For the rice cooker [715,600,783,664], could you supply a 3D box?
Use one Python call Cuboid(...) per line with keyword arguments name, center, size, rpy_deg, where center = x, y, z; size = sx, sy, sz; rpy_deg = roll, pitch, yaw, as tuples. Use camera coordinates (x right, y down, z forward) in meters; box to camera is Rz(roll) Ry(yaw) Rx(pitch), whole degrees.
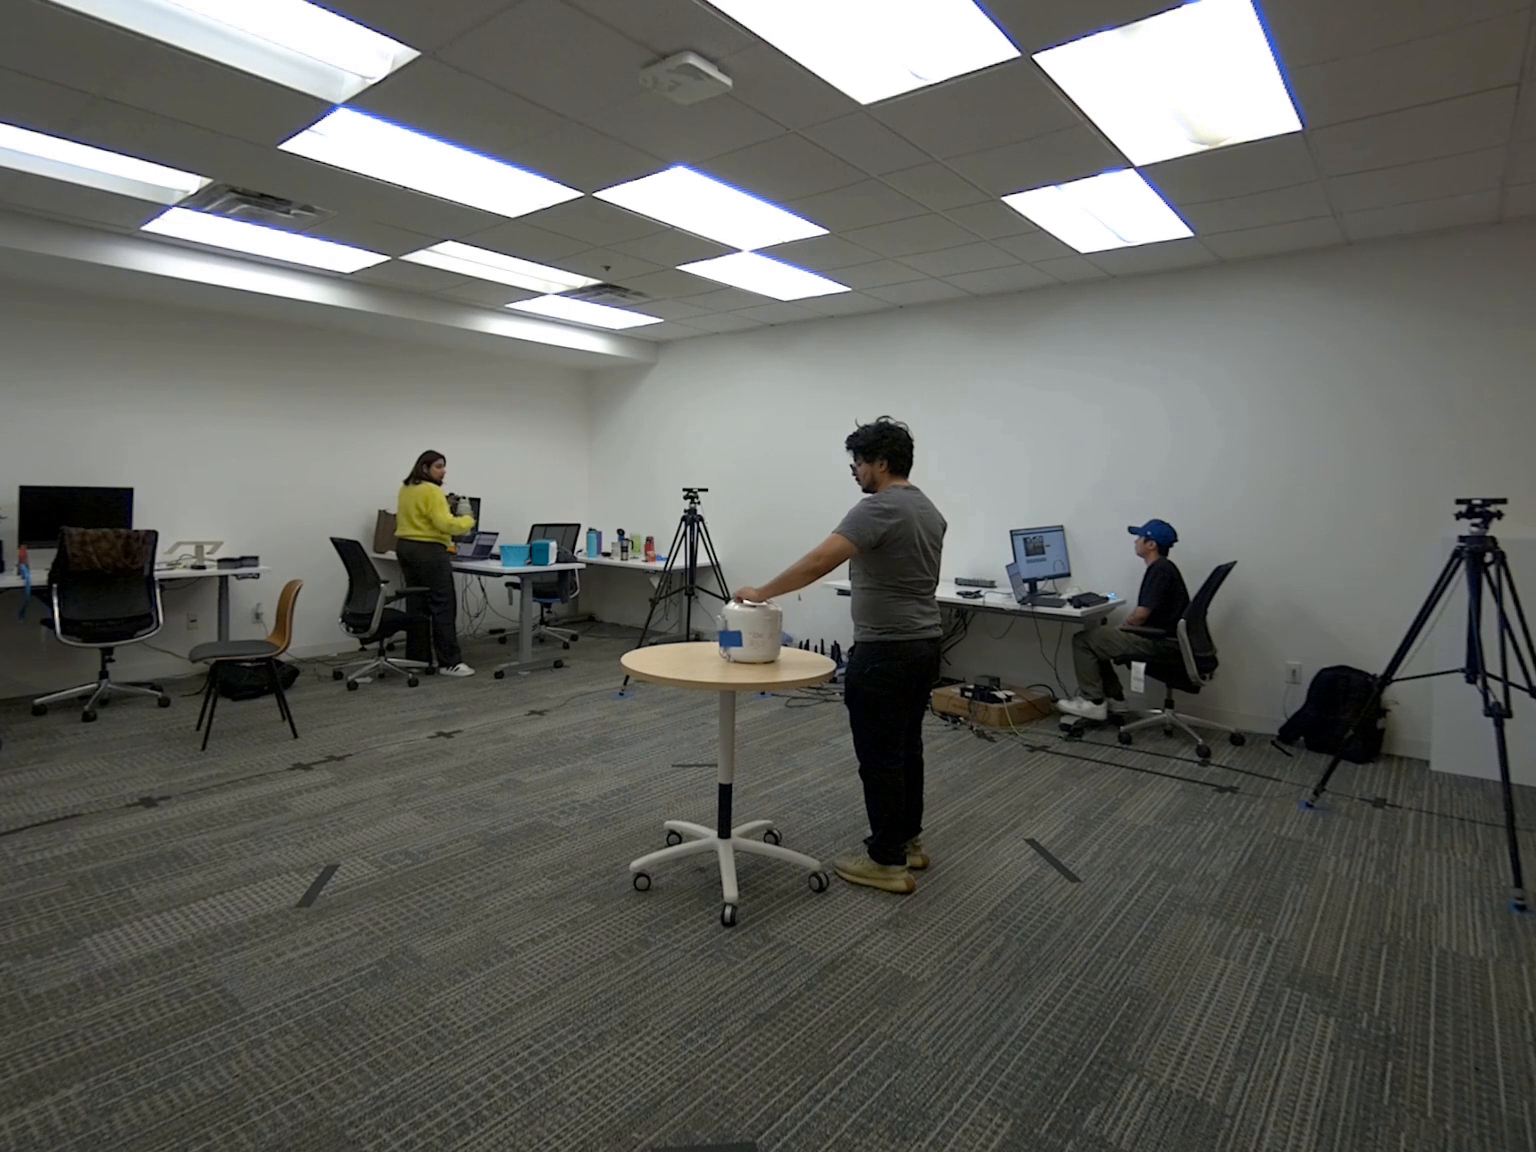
Cuboid(name="rice cooker", center=(-0.072, 0.180, 3.056), size=(0.225, 0.232, 0.214), rpy_deg=(3, 5, 17))
